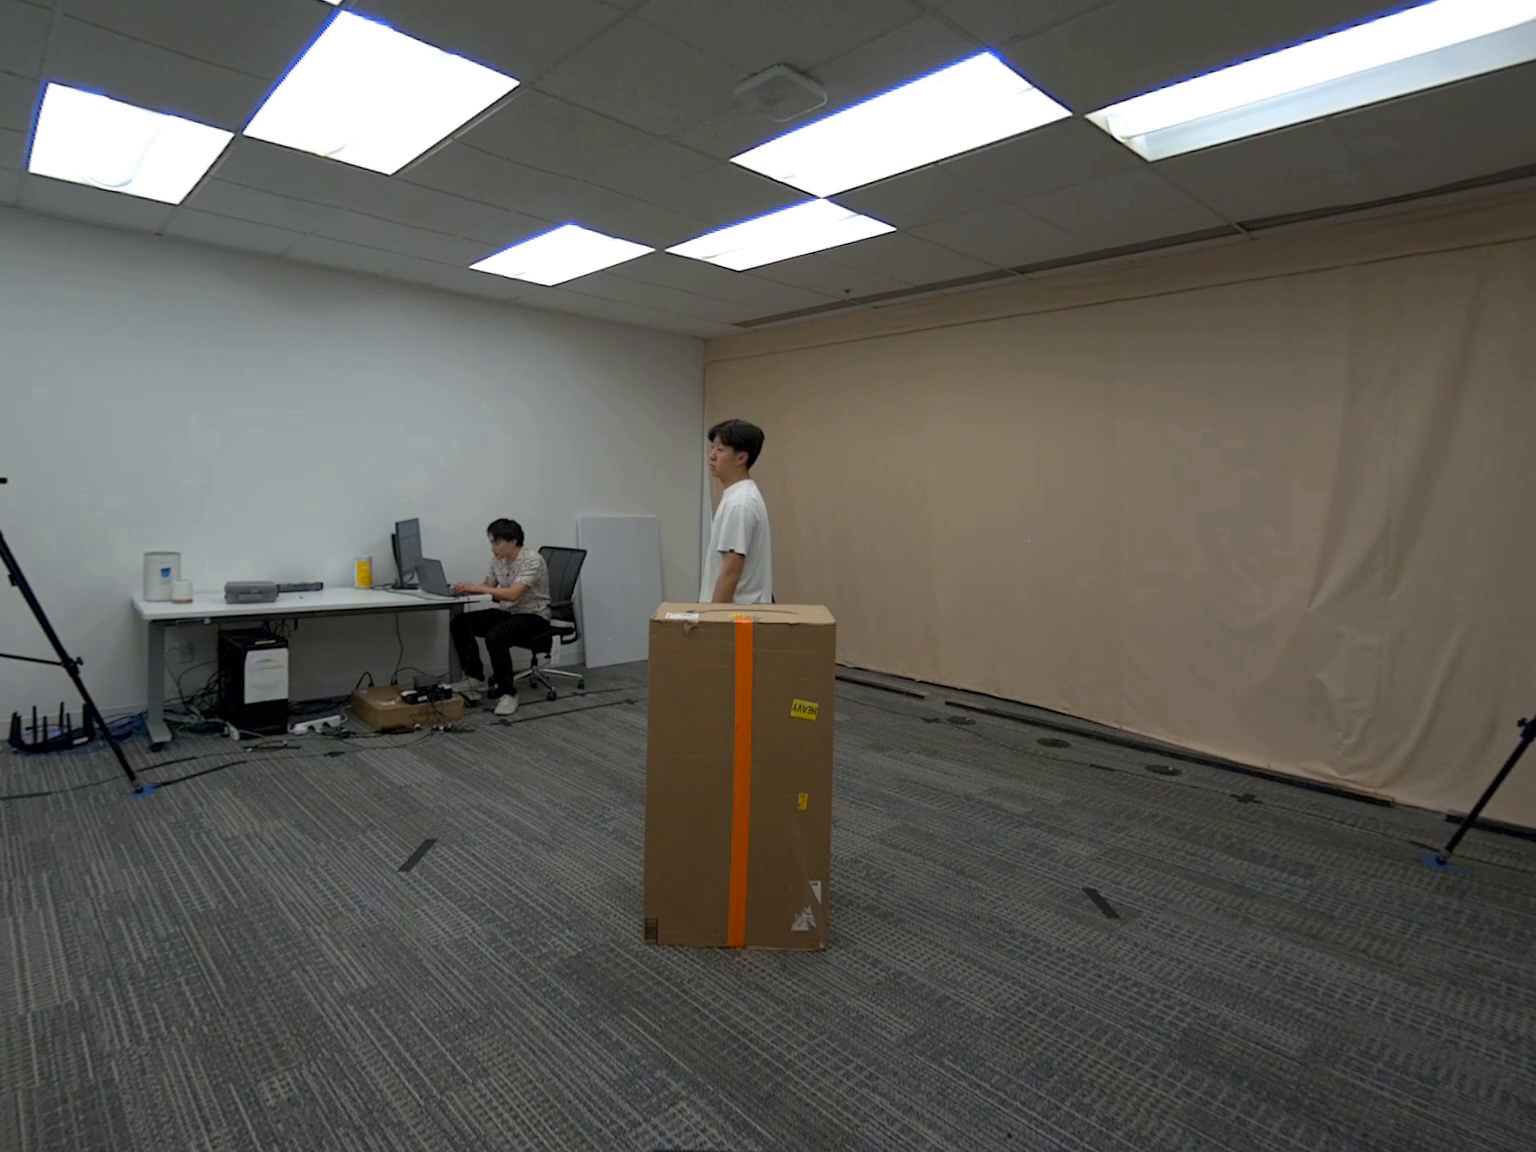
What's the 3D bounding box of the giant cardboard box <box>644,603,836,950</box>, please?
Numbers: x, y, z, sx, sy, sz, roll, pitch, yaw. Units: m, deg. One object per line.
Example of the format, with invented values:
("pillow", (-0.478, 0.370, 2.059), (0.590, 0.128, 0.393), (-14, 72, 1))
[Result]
("giant cardboard box", (-0.101, 0.628, 2.784), (0.577, 1.023, 0.427), (1, 3, -1))
